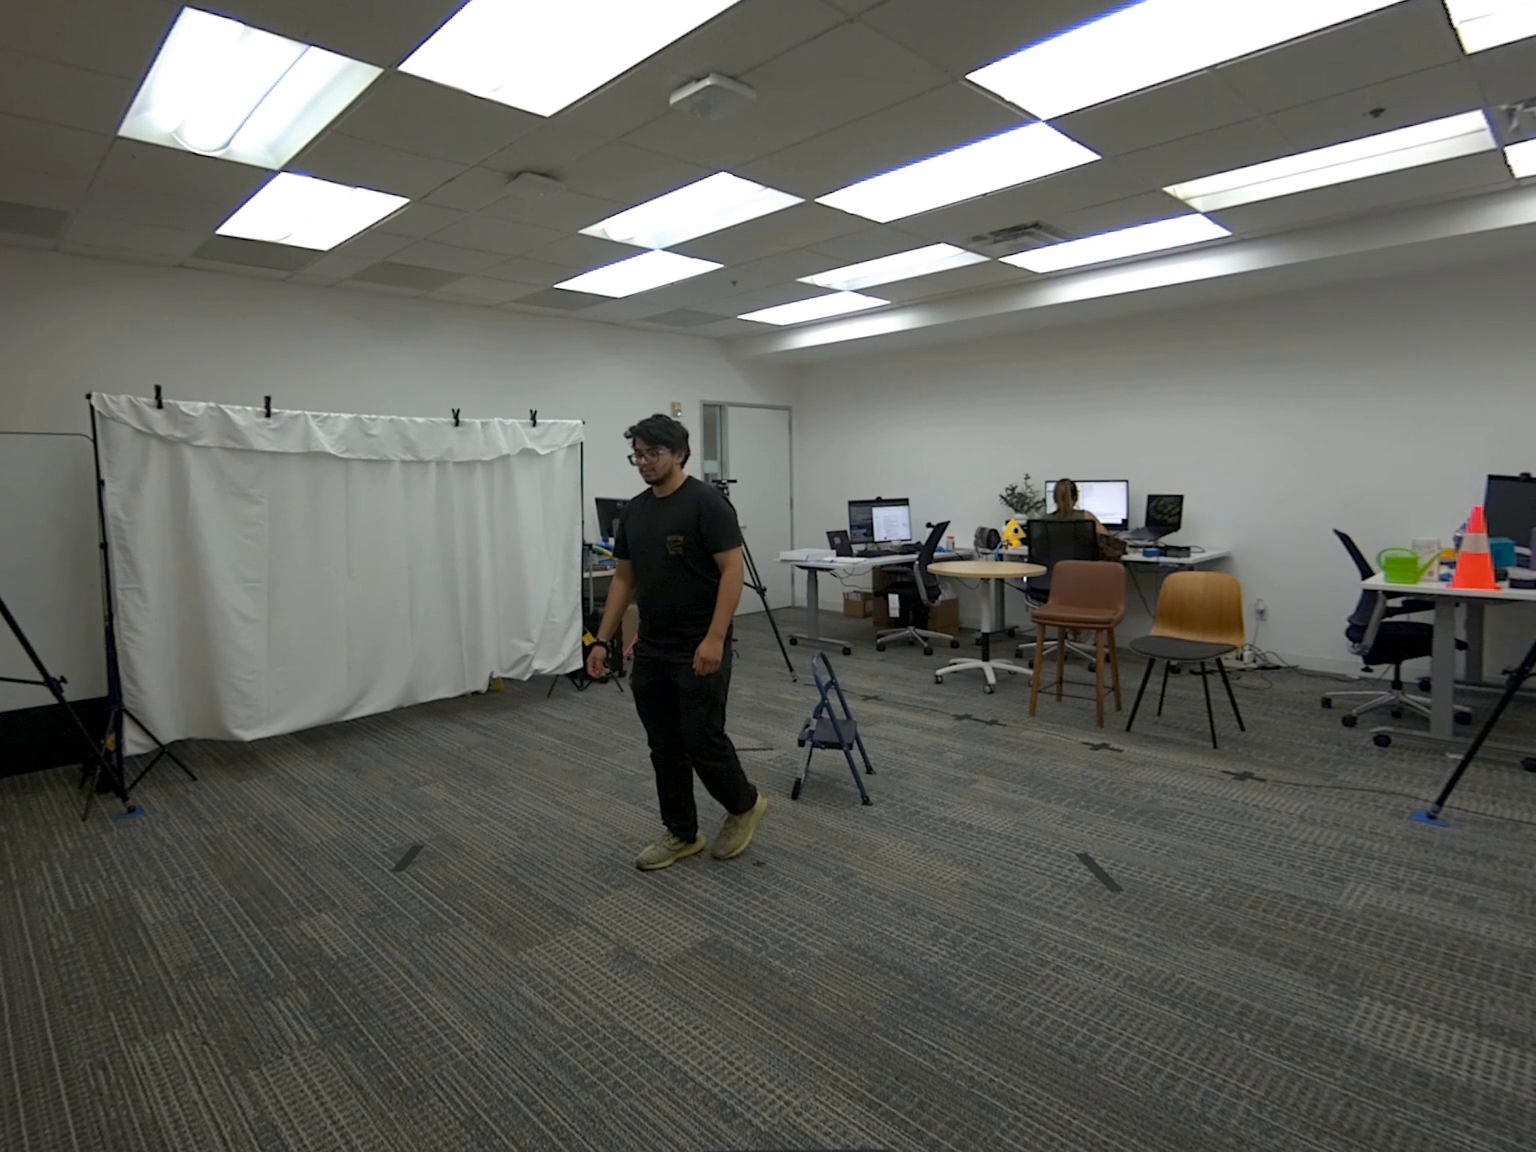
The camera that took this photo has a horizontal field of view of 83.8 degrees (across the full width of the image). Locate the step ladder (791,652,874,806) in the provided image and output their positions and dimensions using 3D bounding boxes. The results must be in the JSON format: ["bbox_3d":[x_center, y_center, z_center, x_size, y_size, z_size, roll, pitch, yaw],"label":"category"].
[{"bbox_3d":[0.300,0.654,3.873,0.353,0.604,0.427,0,4,10],"label":"step ladder"}]
